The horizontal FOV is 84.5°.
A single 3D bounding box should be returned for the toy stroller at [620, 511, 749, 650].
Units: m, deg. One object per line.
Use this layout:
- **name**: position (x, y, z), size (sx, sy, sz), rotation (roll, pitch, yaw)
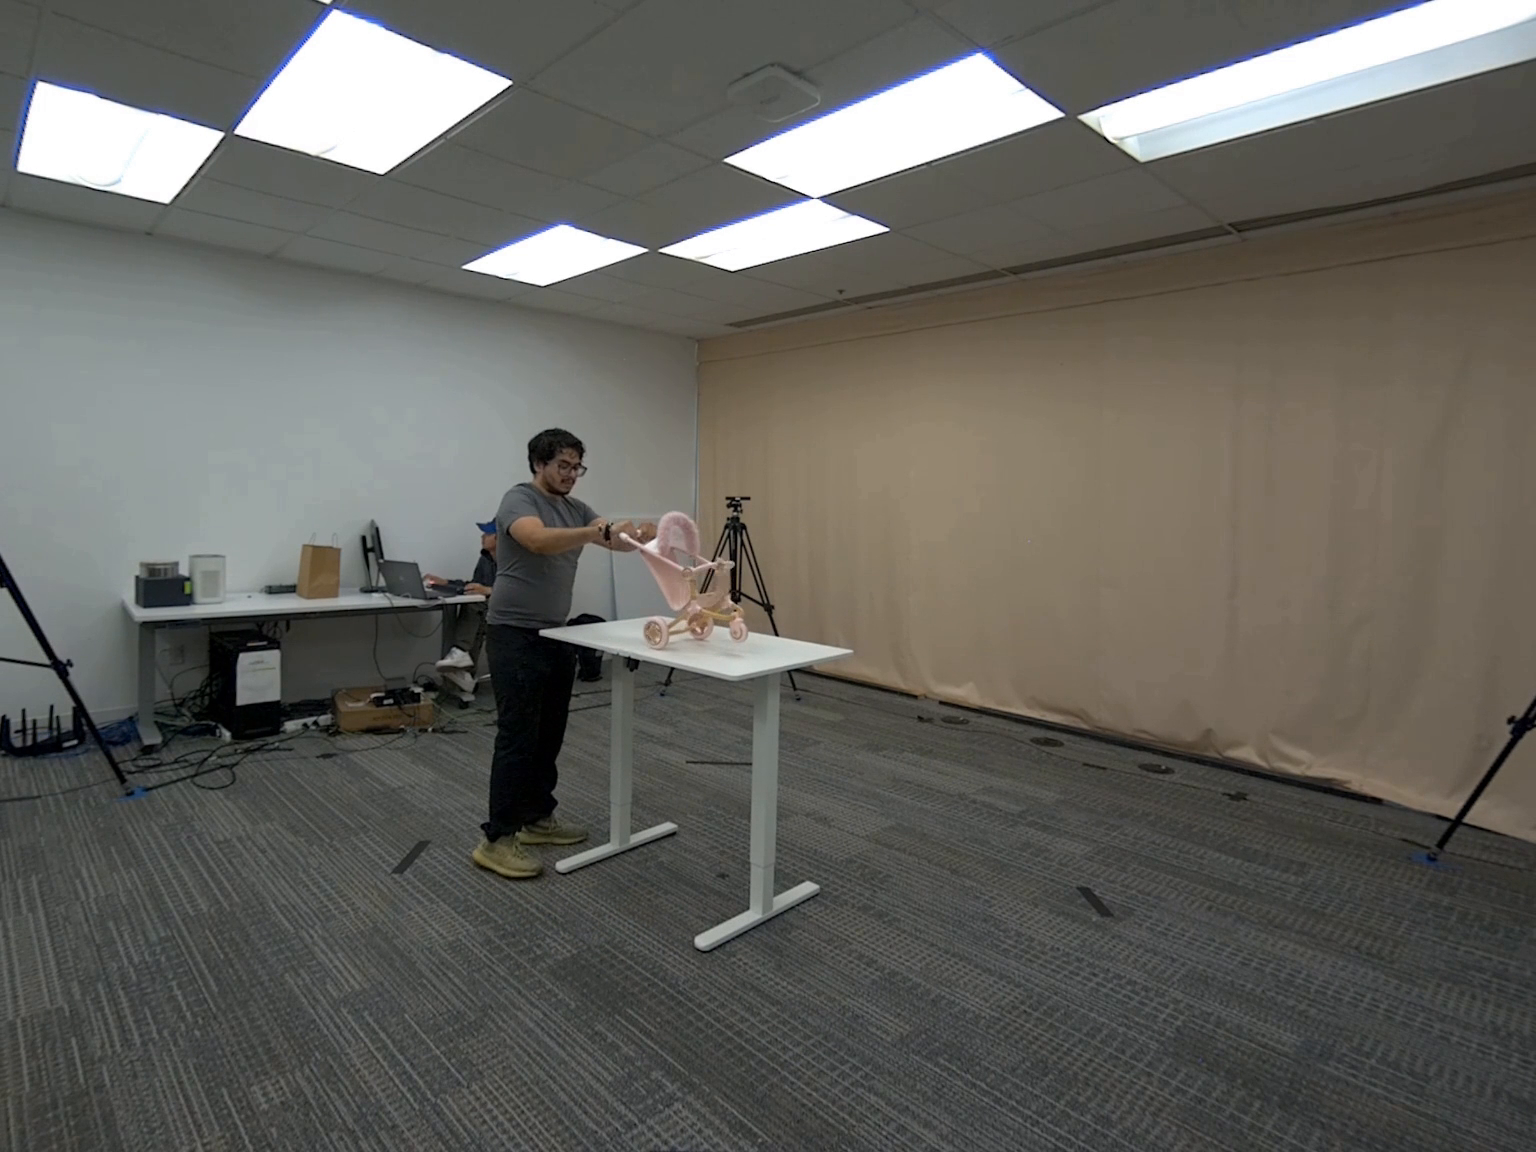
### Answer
- **toy stroller**: position (-0.285, 0.013, 2.882), size (0.345, 0.541, 0.275), rotation (-26, -13, 35)
